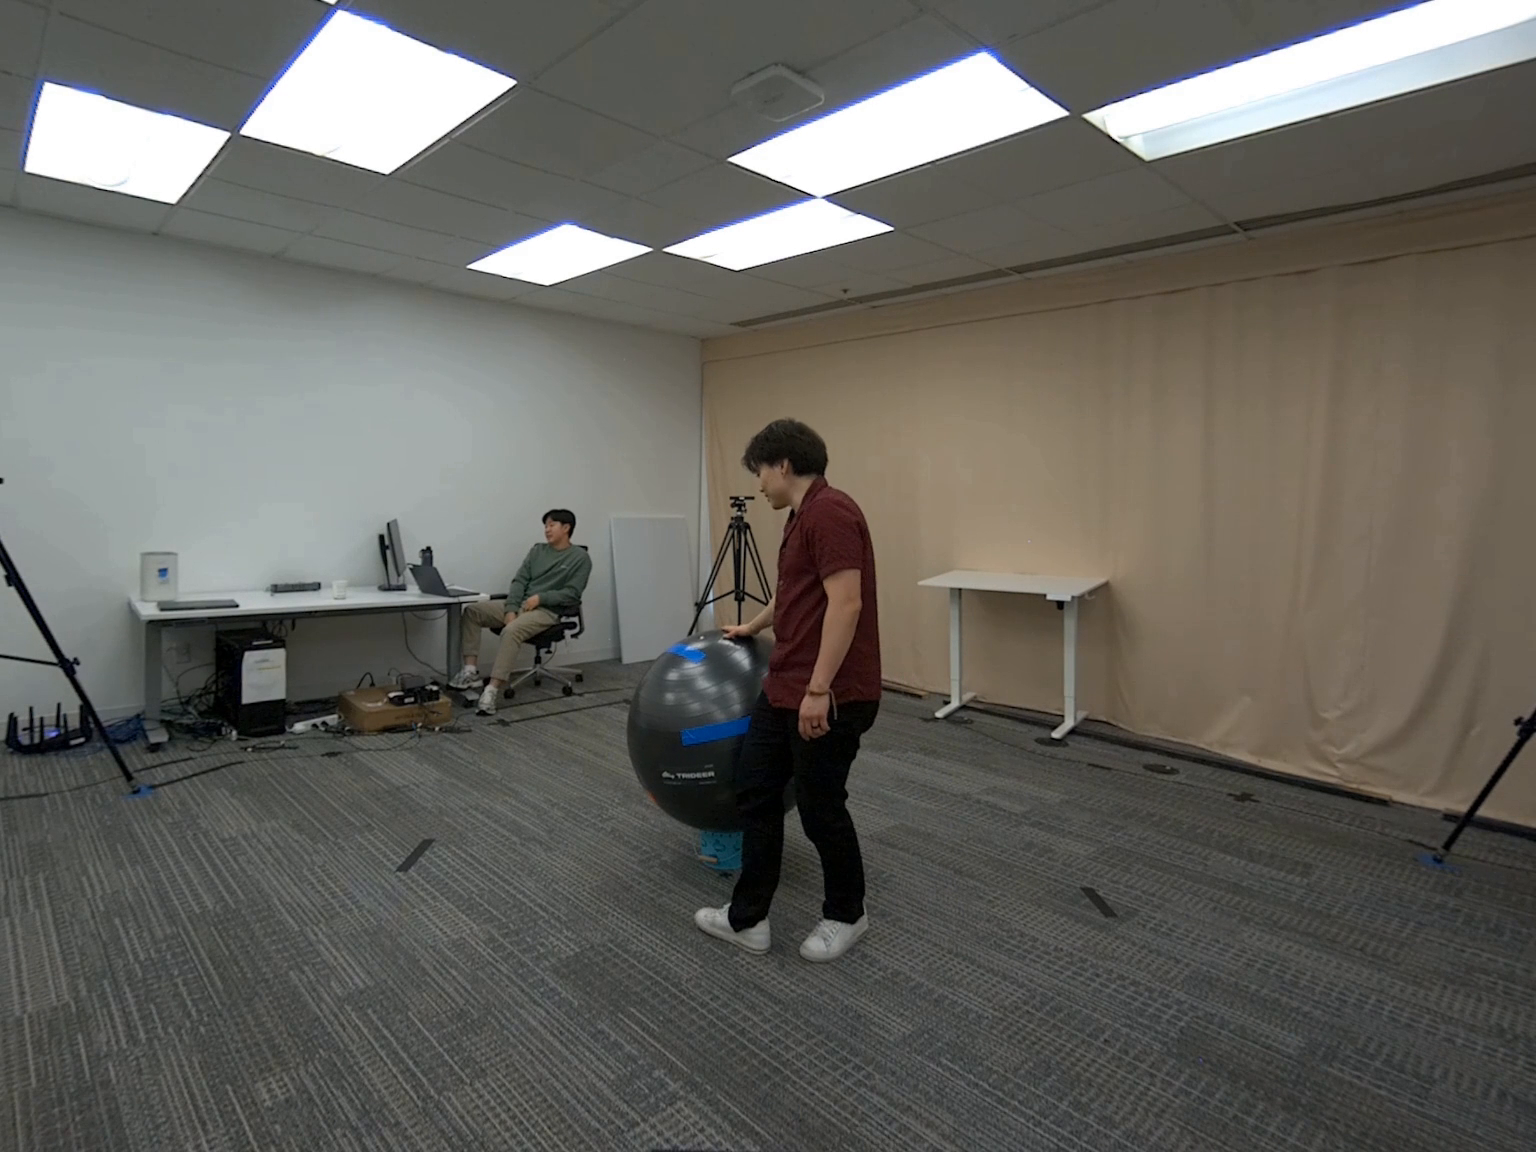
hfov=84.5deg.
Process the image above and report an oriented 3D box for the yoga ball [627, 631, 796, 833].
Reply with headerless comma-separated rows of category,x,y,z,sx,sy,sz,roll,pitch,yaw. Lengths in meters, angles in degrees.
yoga ball,-0.160,0.587,3.202,0.757,0.756,0.761,1,4,-1
